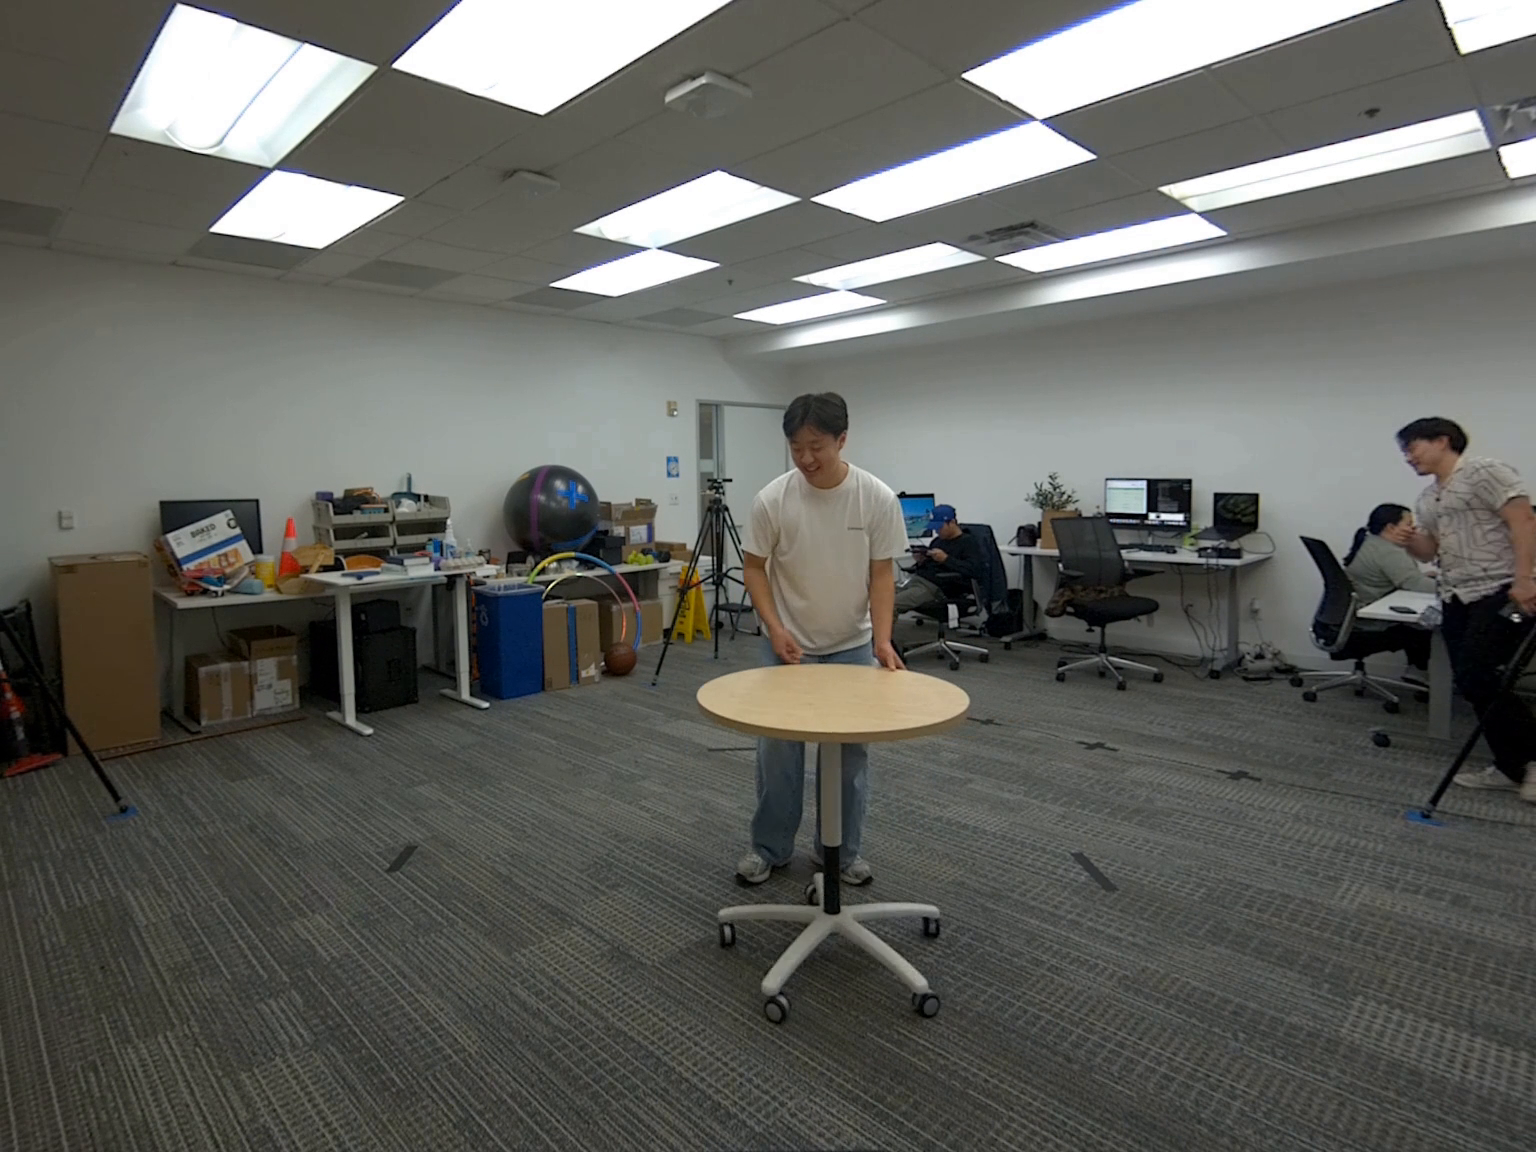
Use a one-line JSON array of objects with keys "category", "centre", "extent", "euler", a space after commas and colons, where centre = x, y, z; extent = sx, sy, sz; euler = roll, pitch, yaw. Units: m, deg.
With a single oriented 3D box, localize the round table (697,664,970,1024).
[{"category": "round table", "centre": [0.202, 0.729, 2.462], "extent": [0.784, 0.784, 0.789], "euler": [-1, 5, -2]}]
